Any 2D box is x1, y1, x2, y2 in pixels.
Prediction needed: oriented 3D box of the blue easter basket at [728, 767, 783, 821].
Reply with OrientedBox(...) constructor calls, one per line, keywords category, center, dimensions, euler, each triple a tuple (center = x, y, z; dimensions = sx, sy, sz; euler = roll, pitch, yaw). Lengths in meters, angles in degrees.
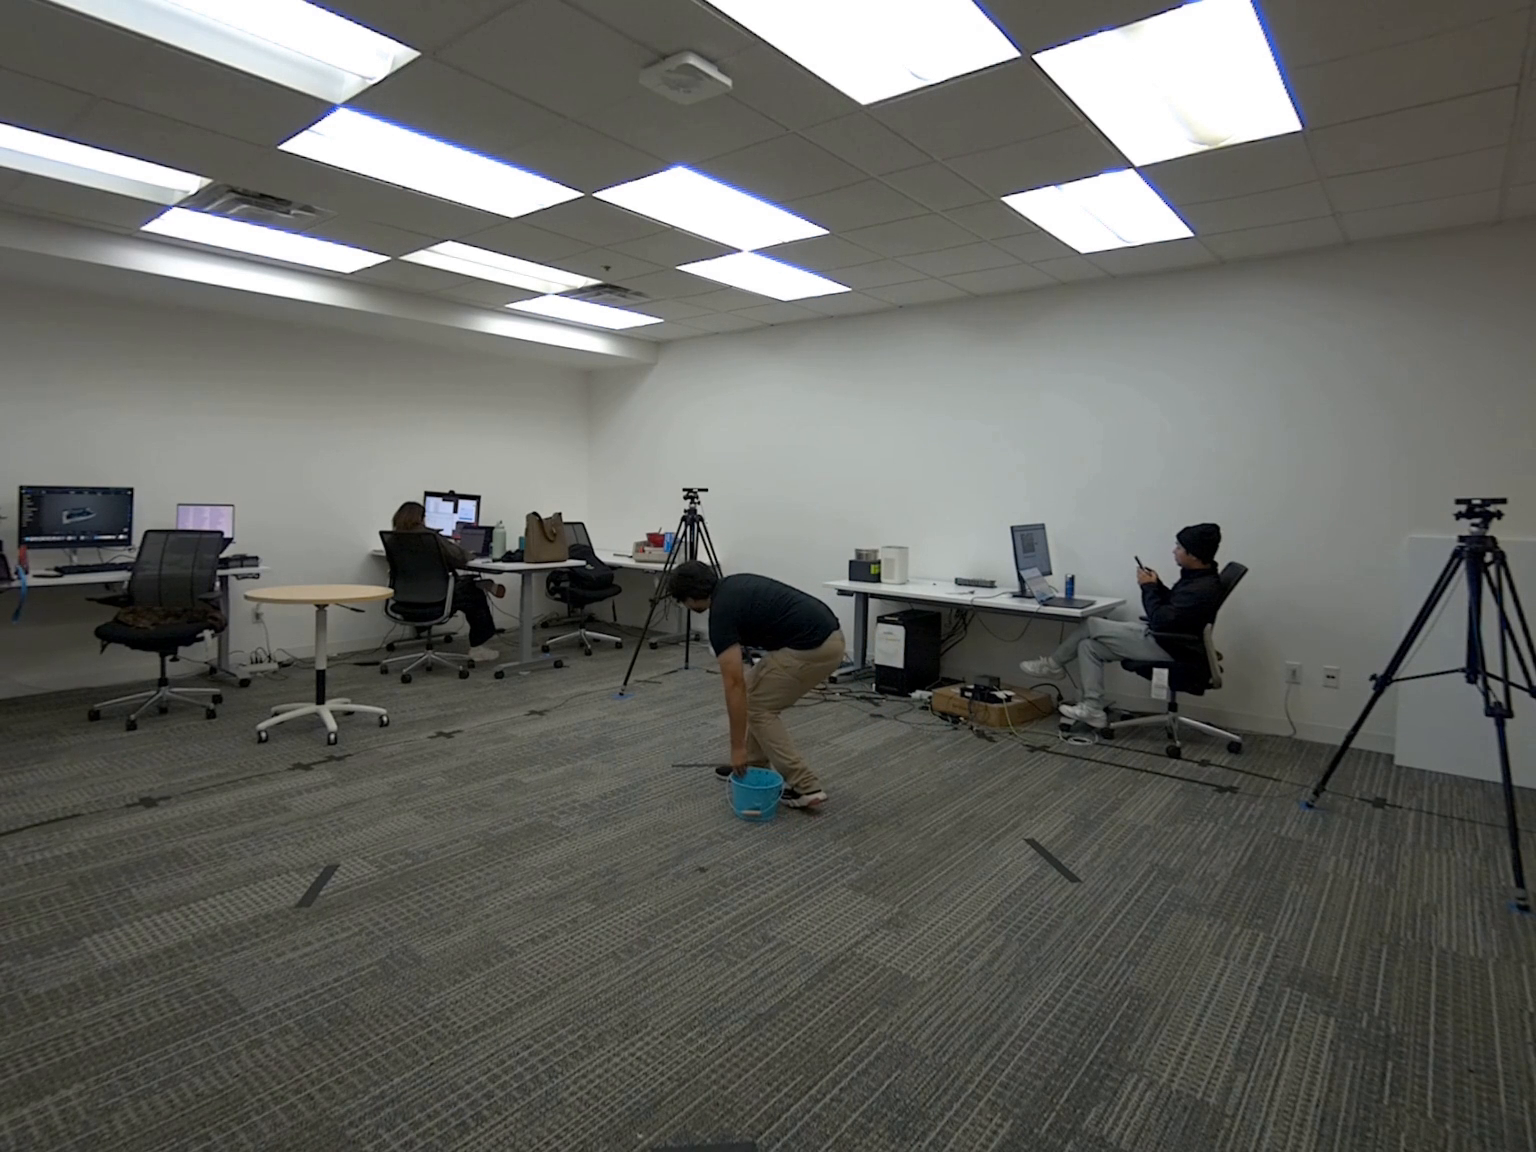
OrientedBox(category="blue easter basket", center=(-0.068, 0.941, 3.676), dimensions=(0.243, 0.155, 0.245), euler=(3, 6, -2))
